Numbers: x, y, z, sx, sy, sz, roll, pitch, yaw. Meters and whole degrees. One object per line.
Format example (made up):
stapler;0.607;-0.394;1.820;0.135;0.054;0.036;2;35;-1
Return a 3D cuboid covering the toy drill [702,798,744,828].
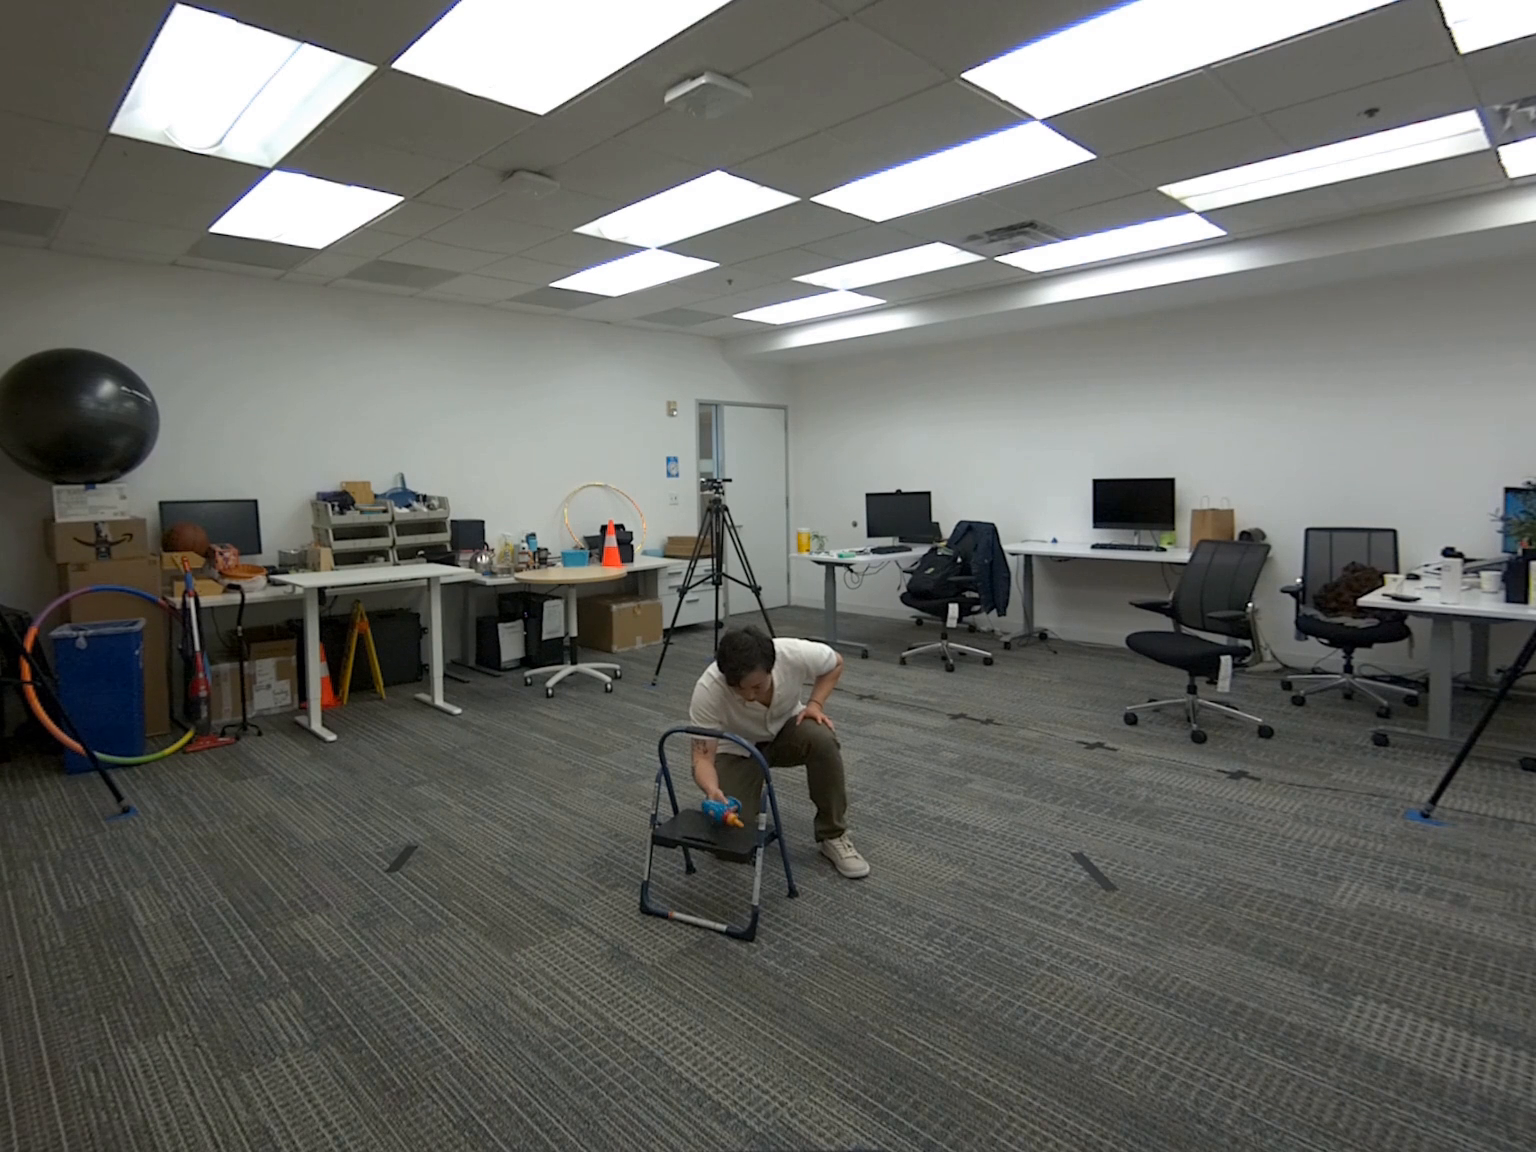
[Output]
toy drill;-0.109;0.769;2.747;0.176;0.061;0.141;19;5;36
